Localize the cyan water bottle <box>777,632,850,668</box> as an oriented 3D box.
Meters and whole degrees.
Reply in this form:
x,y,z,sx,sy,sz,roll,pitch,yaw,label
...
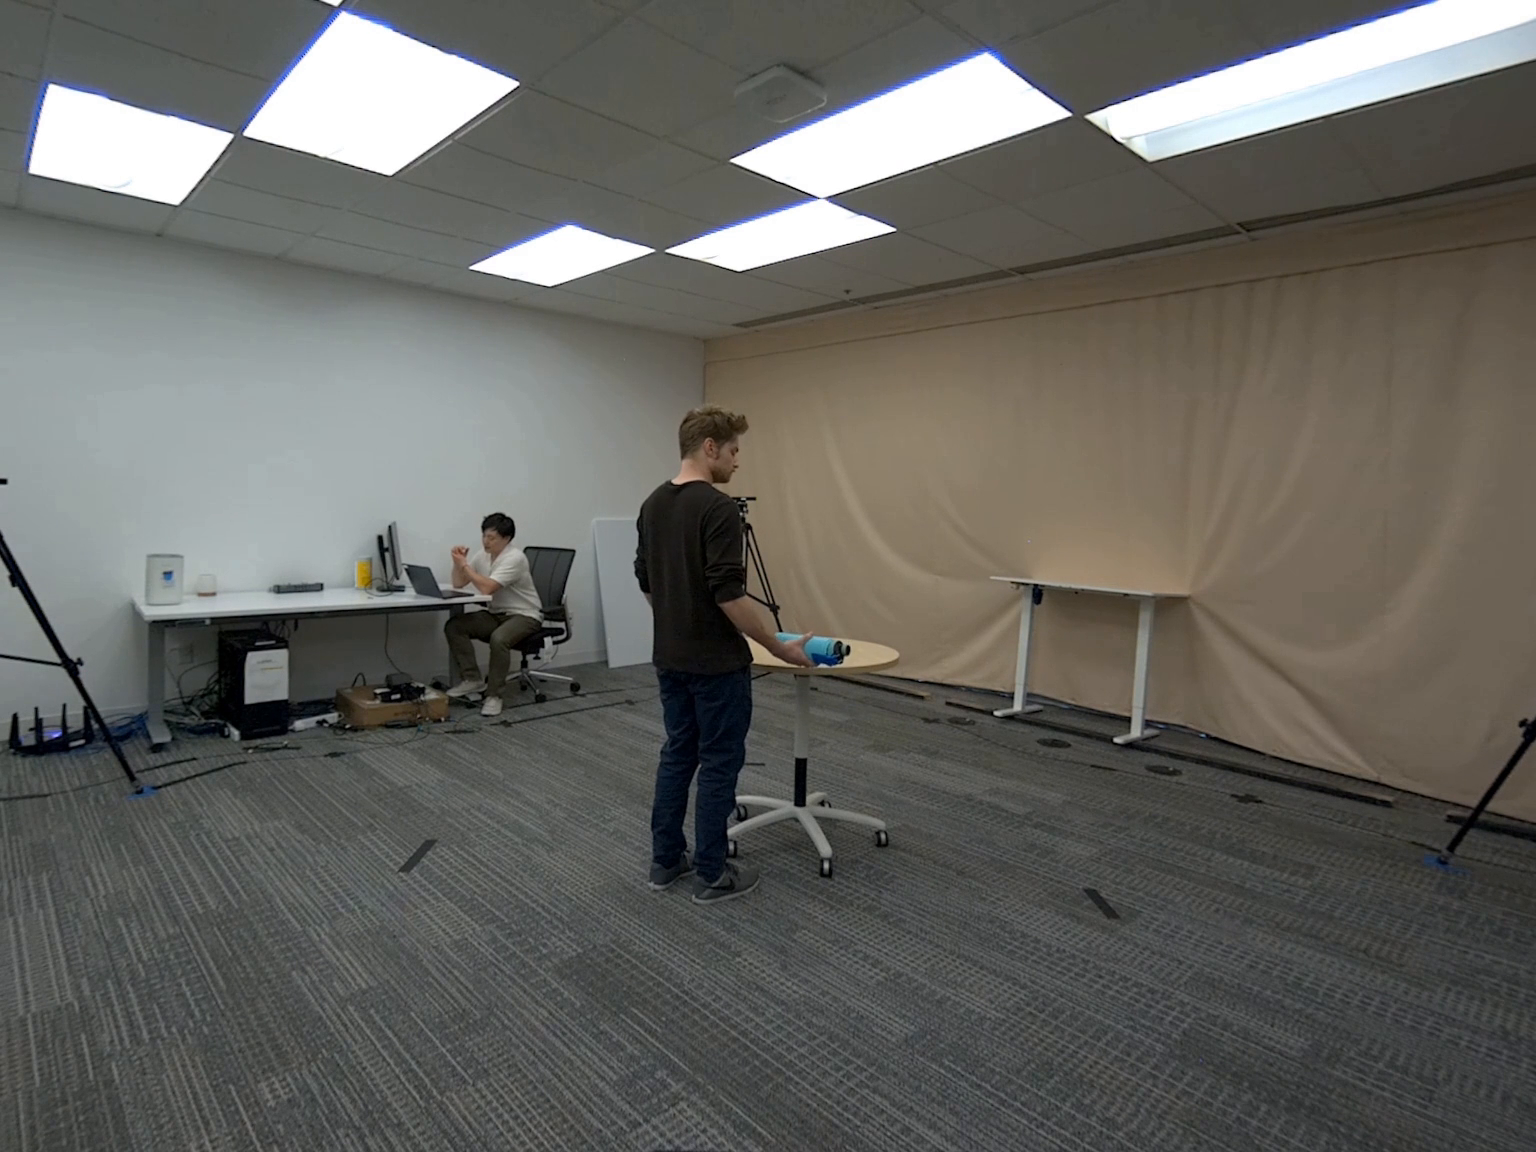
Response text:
x,y,z,sx,sy,sz,roll,pitch,yaw,label
0.142,0.241,2.877,0.290,0.092,0.090,3,5,37,cyan water bottle
